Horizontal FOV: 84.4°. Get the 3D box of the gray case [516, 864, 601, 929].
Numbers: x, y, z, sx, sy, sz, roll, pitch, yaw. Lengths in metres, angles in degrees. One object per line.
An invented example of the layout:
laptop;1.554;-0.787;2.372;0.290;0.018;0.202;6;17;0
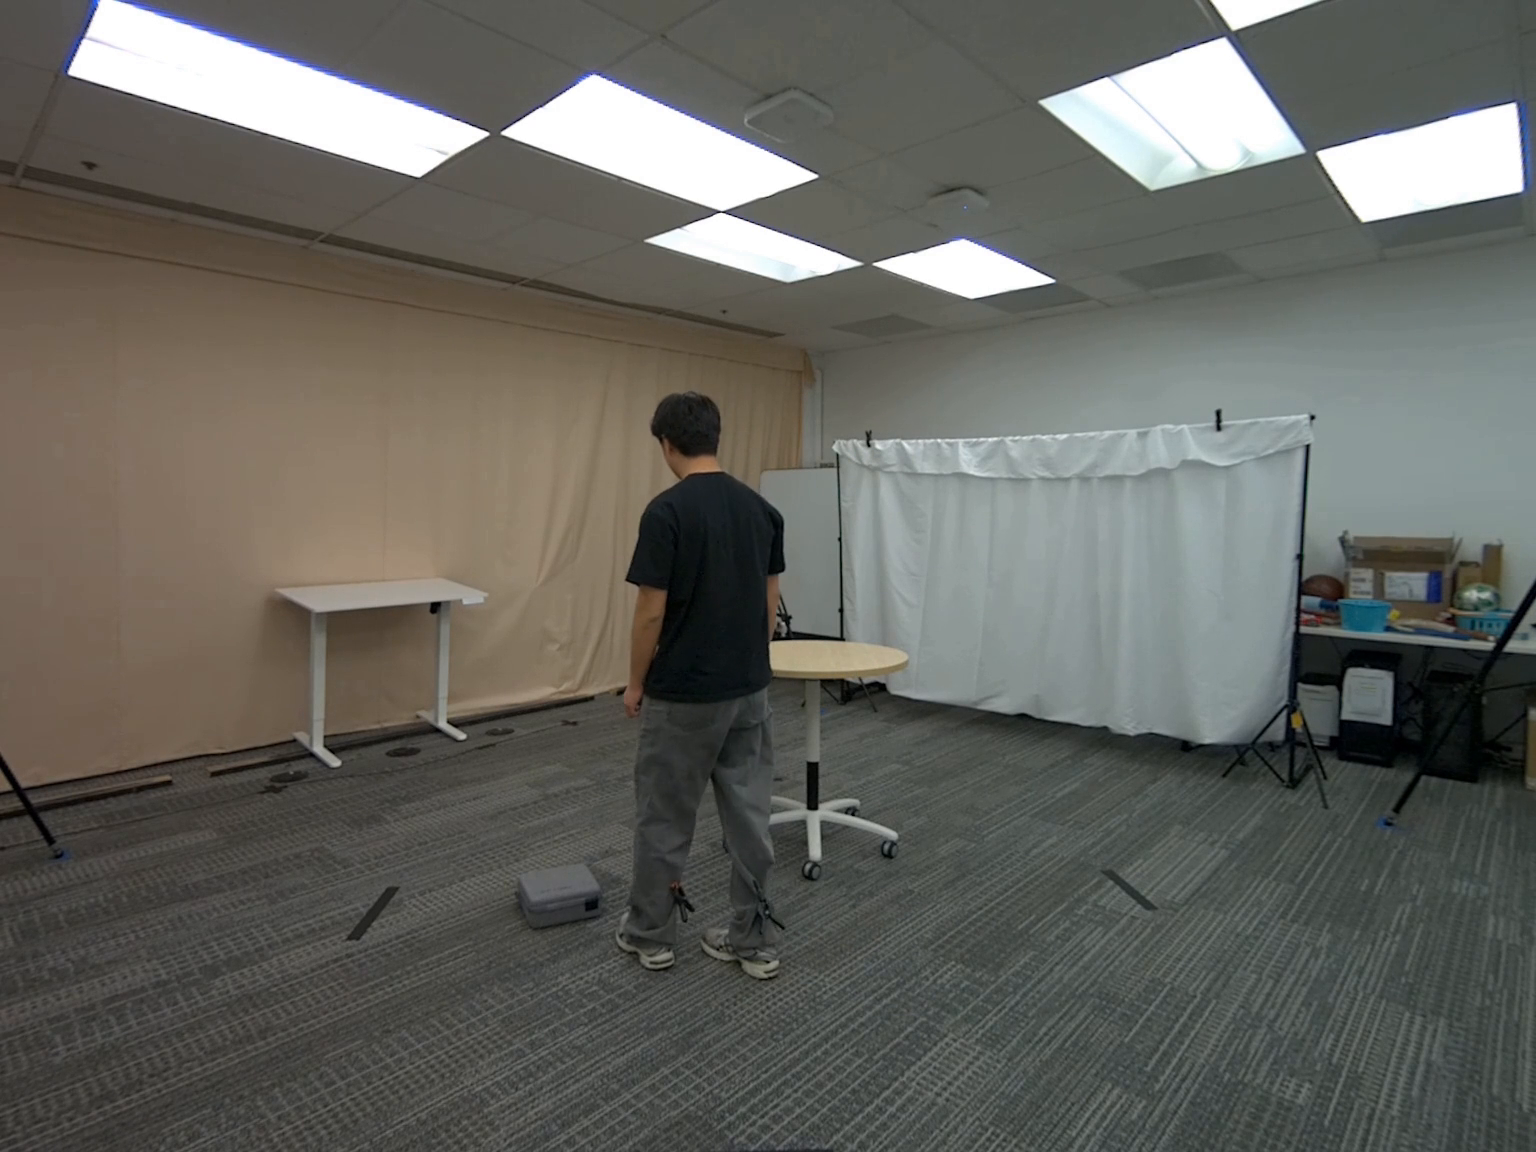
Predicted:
gray case;-0.728;1.101;2.926;0.257;0.103;0.294;-2;4;-24
